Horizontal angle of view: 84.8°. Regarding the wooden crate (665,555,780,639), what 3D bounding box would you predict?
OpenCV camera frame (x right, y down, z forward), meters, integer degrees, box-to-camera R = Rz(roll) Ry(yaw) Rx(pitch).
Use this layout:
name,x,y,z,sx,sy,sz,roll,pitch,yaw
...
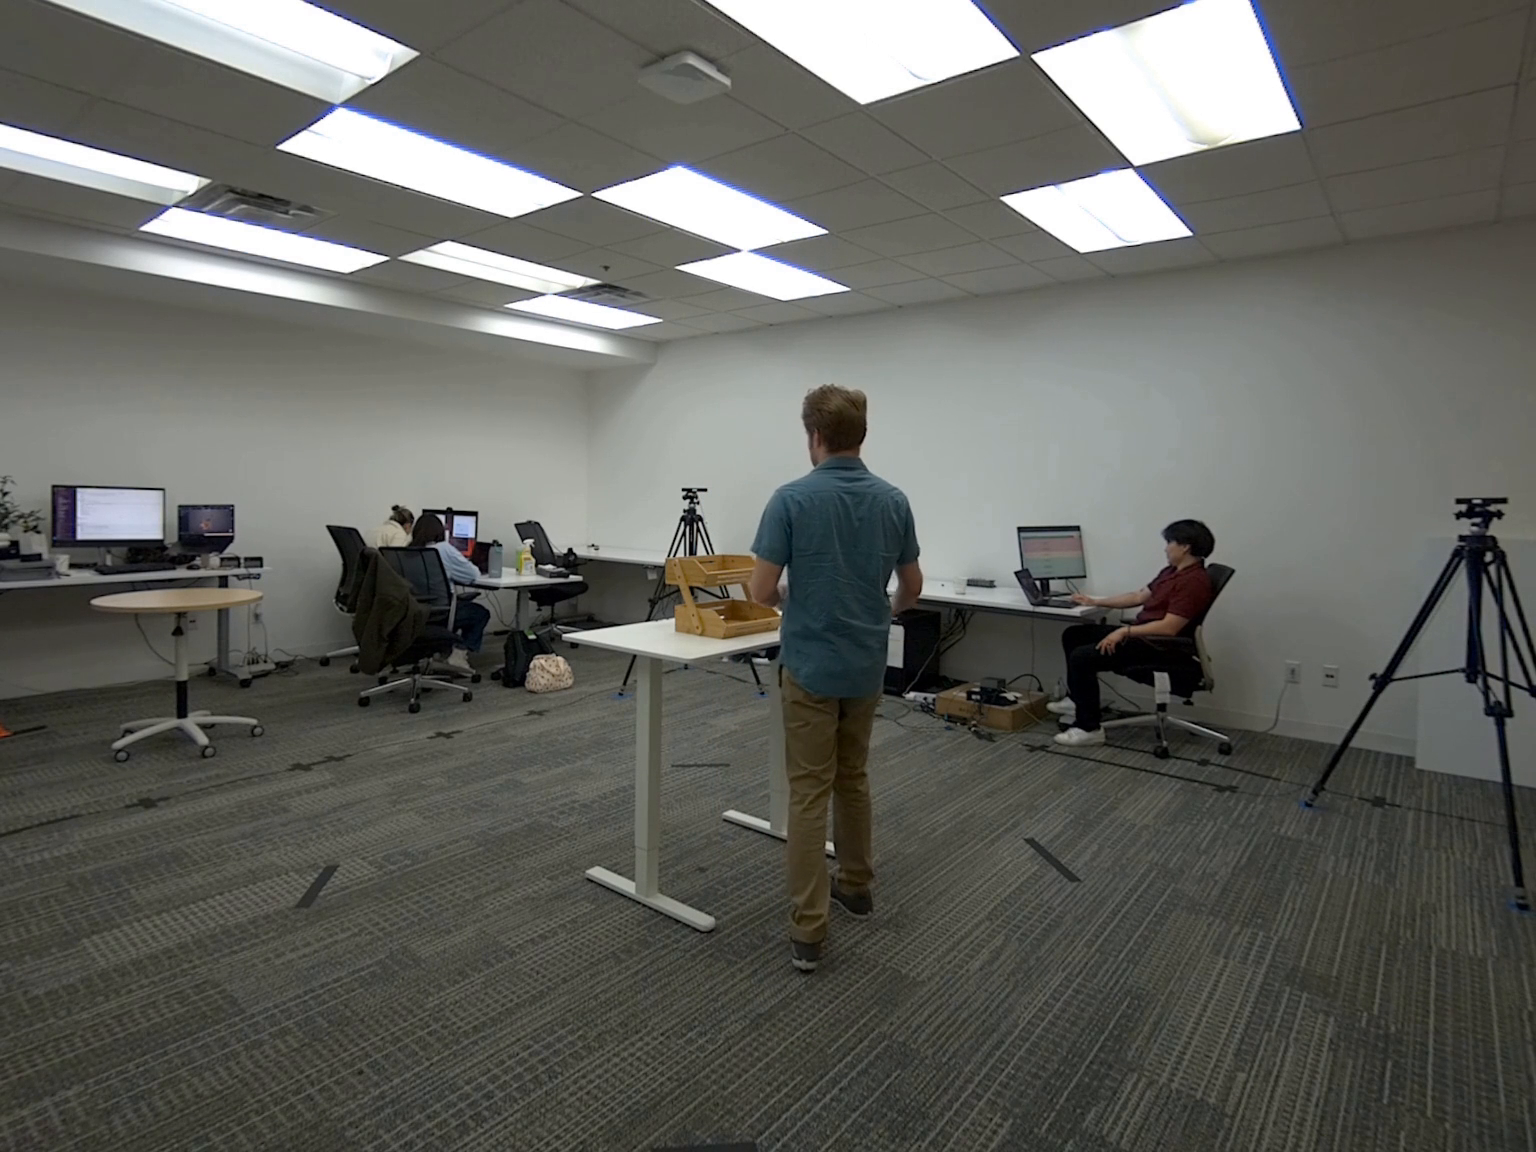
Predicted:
name,x,y,z,sx,sy,sz,roll,pitch,yaw
wooden crate,-0.166,0.059,3.060,0.312,0.272,0.315,3,5,42
